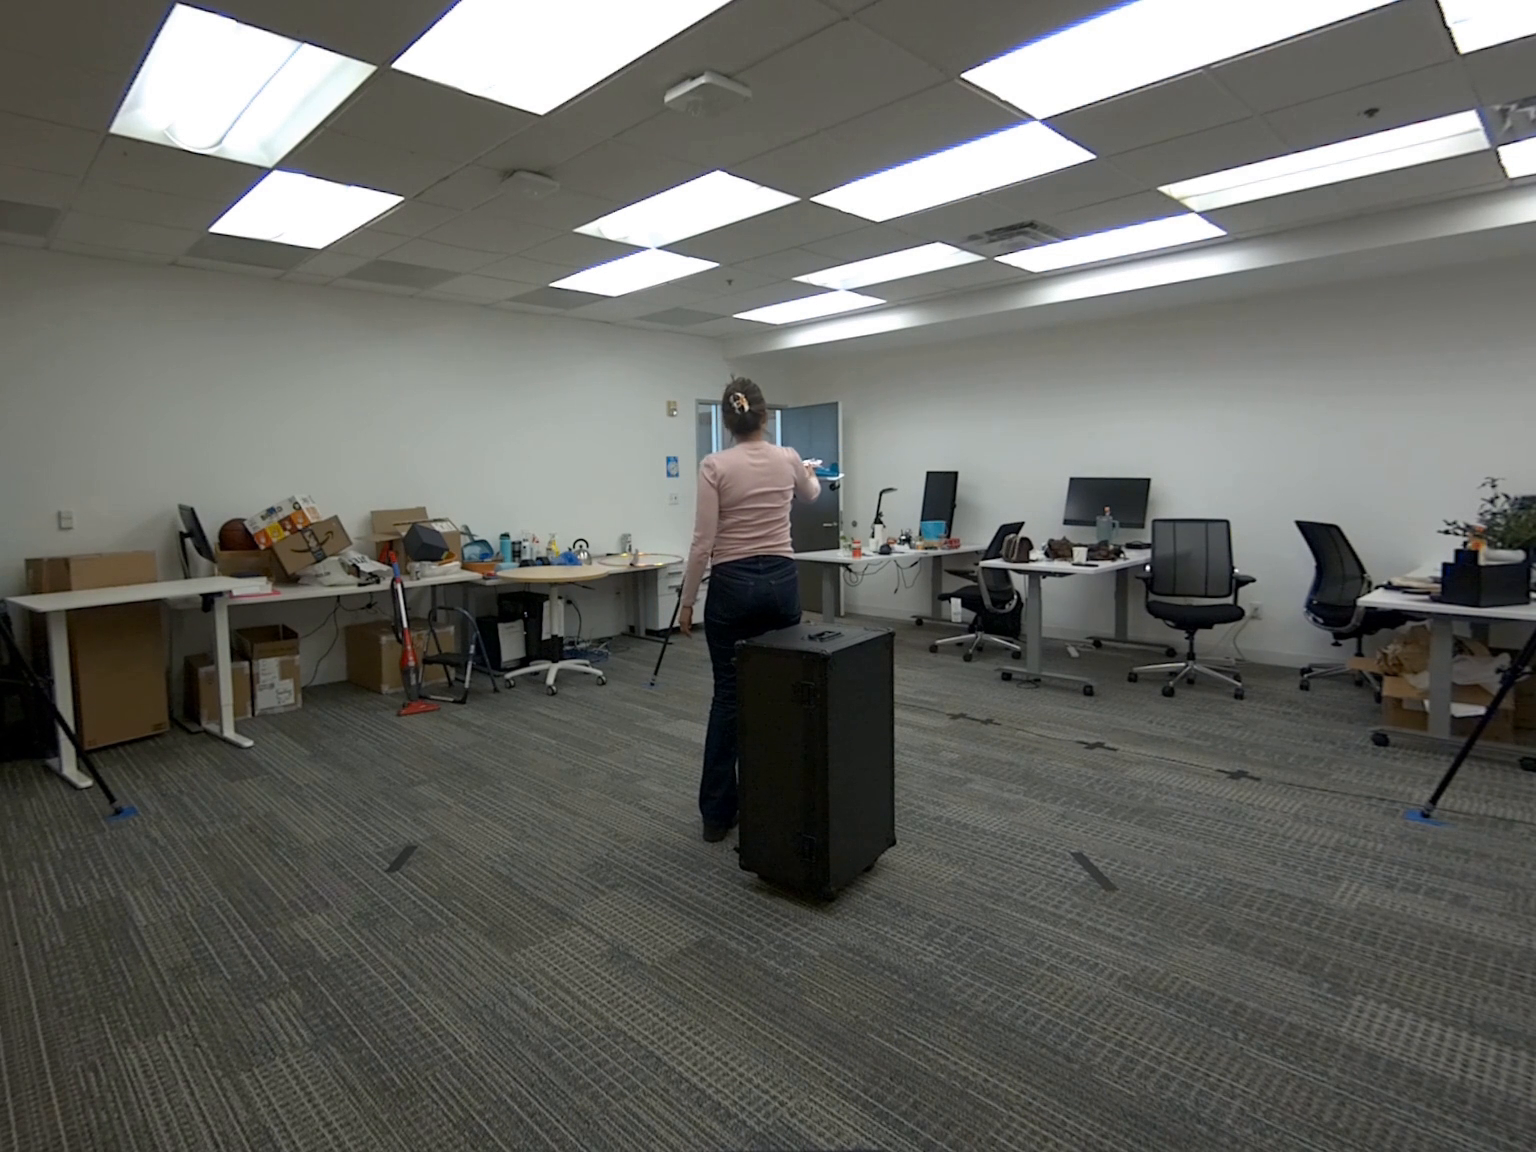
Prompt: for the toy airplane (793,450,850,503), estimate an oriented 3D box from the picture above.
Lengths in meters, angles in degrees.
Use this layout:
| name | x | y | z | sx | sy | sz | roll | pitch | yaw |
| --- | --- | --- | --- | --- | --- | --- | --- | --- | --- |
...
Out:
| name | x | y | z | sx | sy | sz | roll | pitch | yaw |
| --- | --- | --- | --- | --- | --- | --- | --- | --- | --- |
| toy airplane | 0.224 | -0.472 | 4.028 | 0.260 | 0.155 | 0.253 | -15 | 10 | 6 |
